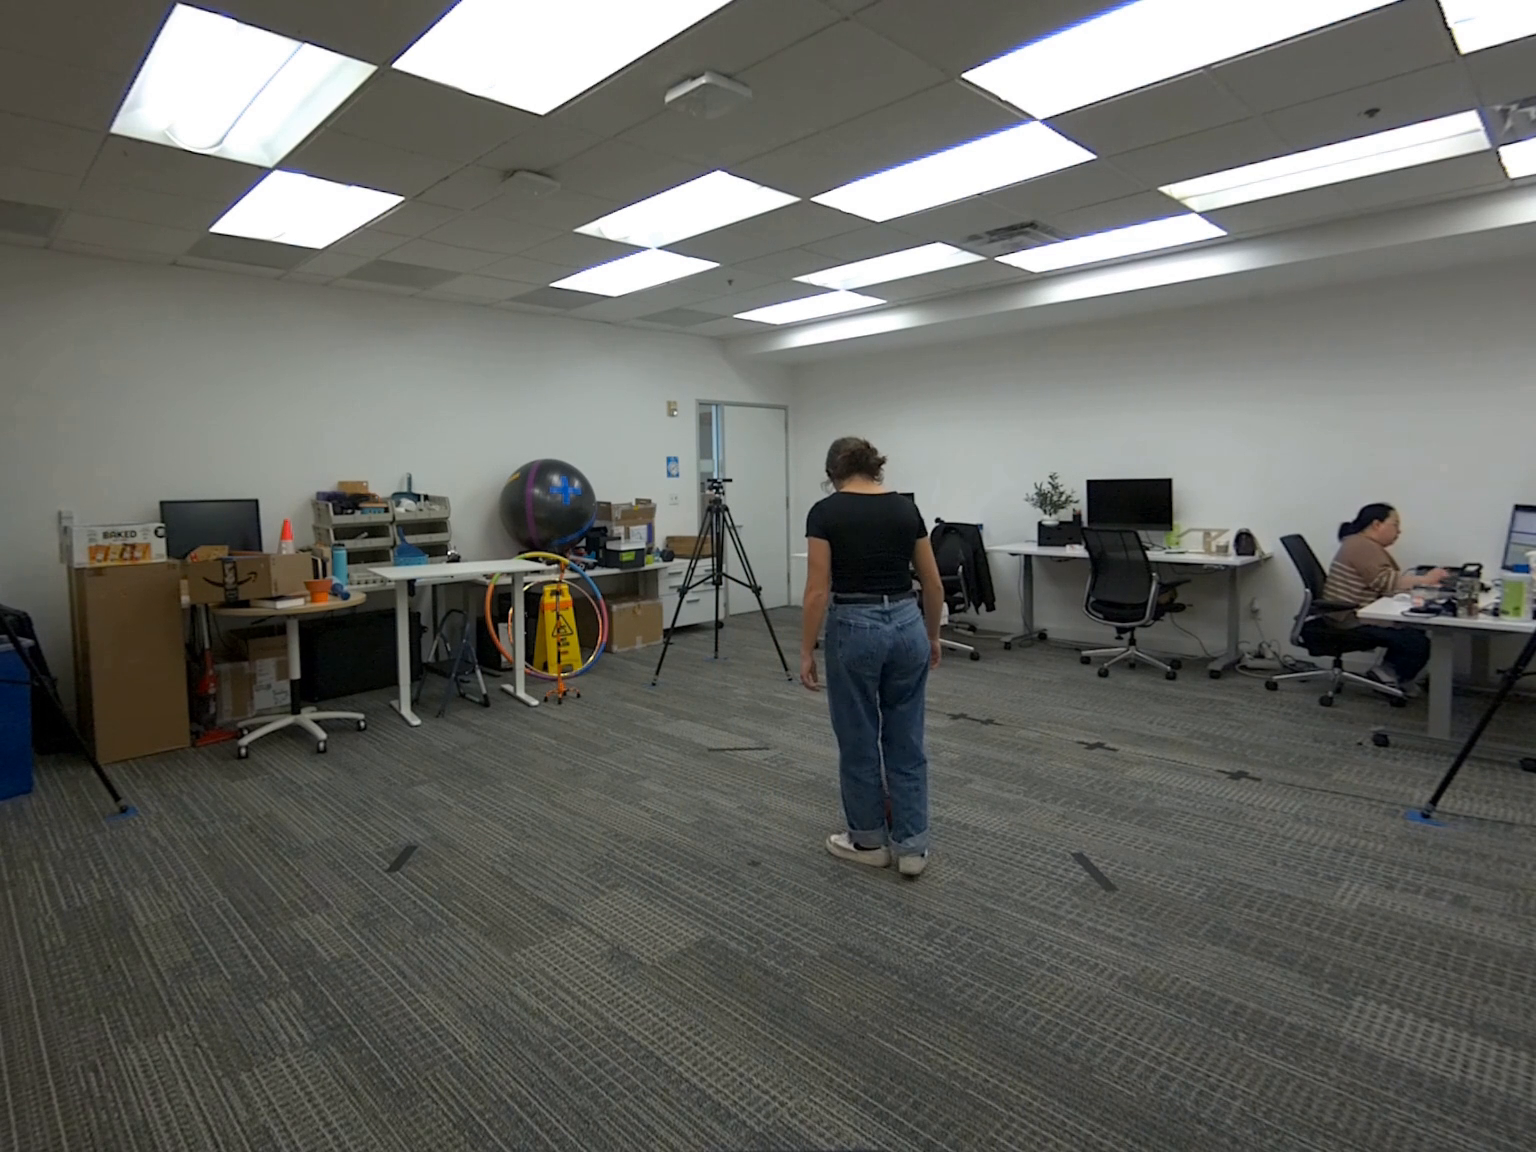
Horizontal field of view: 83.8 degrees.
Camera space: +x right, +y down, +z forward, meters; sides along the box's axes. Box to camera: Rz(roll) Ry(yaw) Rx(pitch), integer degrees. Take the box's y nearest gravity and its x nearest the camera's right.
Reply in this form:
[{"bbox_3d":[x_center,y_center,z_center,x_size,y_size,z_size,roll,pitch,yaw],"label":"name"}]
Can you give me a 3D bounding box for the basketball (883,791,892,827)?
[{"bbox_3d":[0.440,0.889,3.375,0.236,0.235,0.237,-1,5,-2],"label":"basketball"}]
